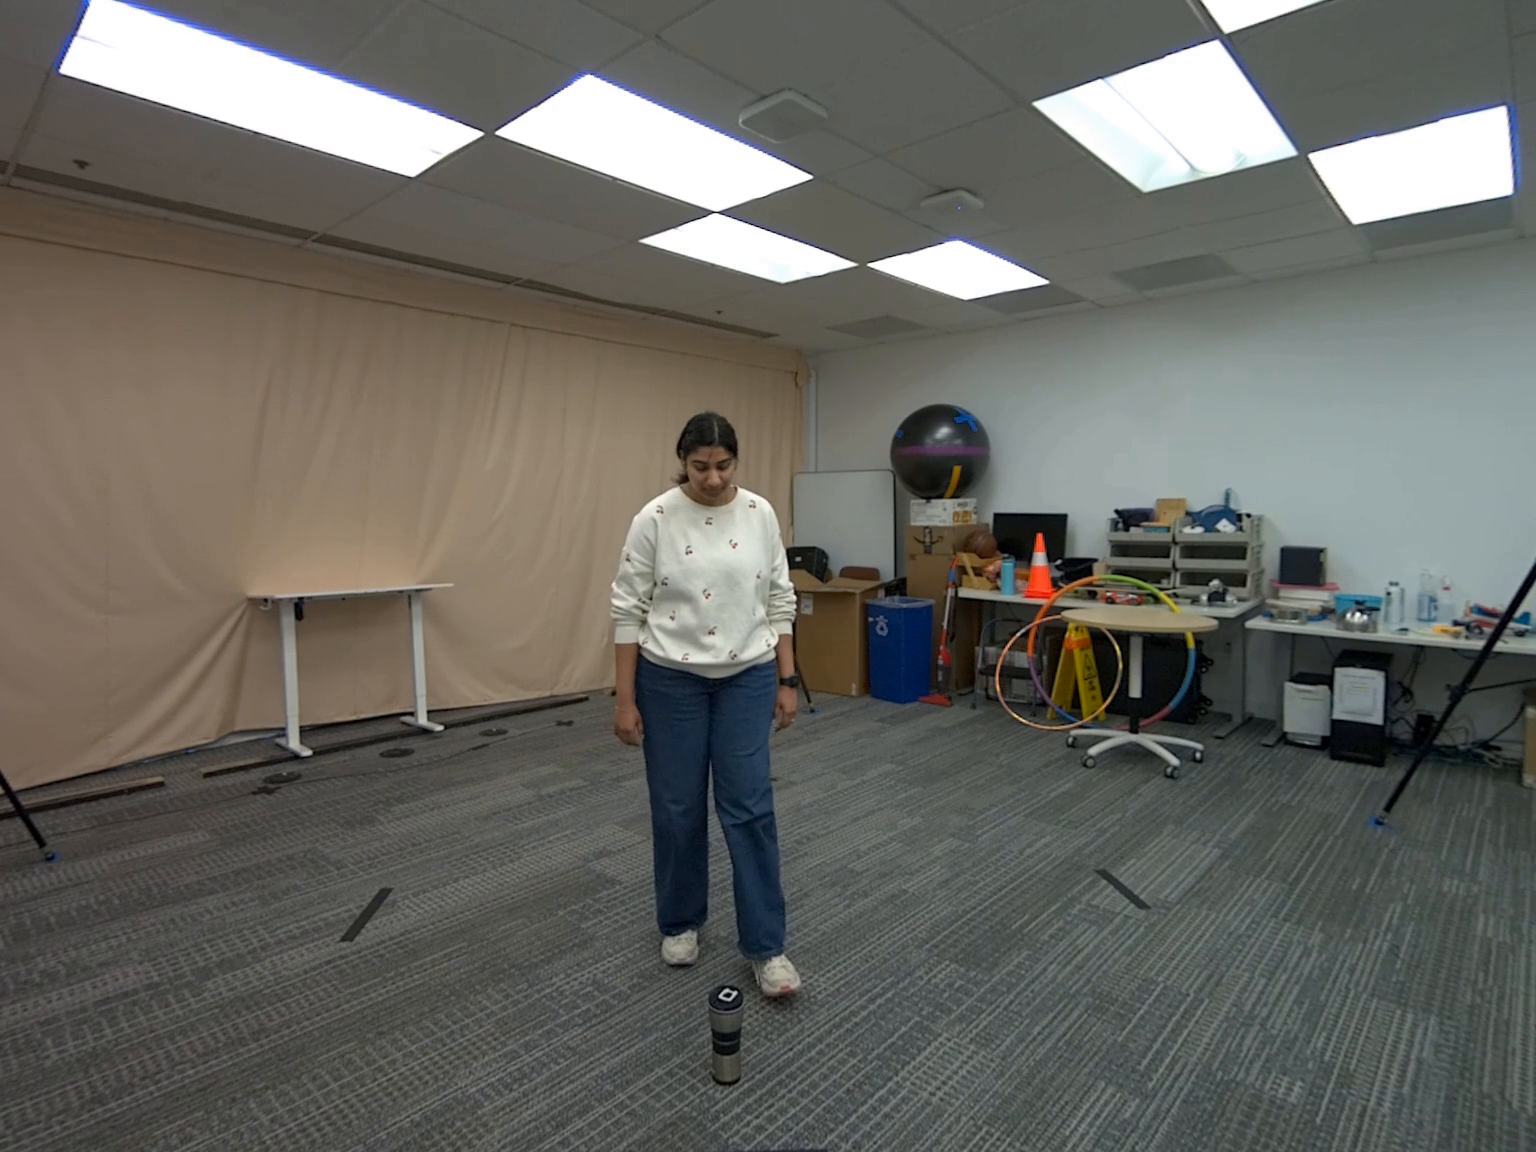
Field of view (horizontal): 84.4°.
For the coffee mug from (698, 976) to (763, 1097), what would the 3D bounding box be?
[{"bbox_3d":[-0.092,1.117,2.065,0.090,0.202,0.118,-1,4,37],"label":"coffee mug"}]
